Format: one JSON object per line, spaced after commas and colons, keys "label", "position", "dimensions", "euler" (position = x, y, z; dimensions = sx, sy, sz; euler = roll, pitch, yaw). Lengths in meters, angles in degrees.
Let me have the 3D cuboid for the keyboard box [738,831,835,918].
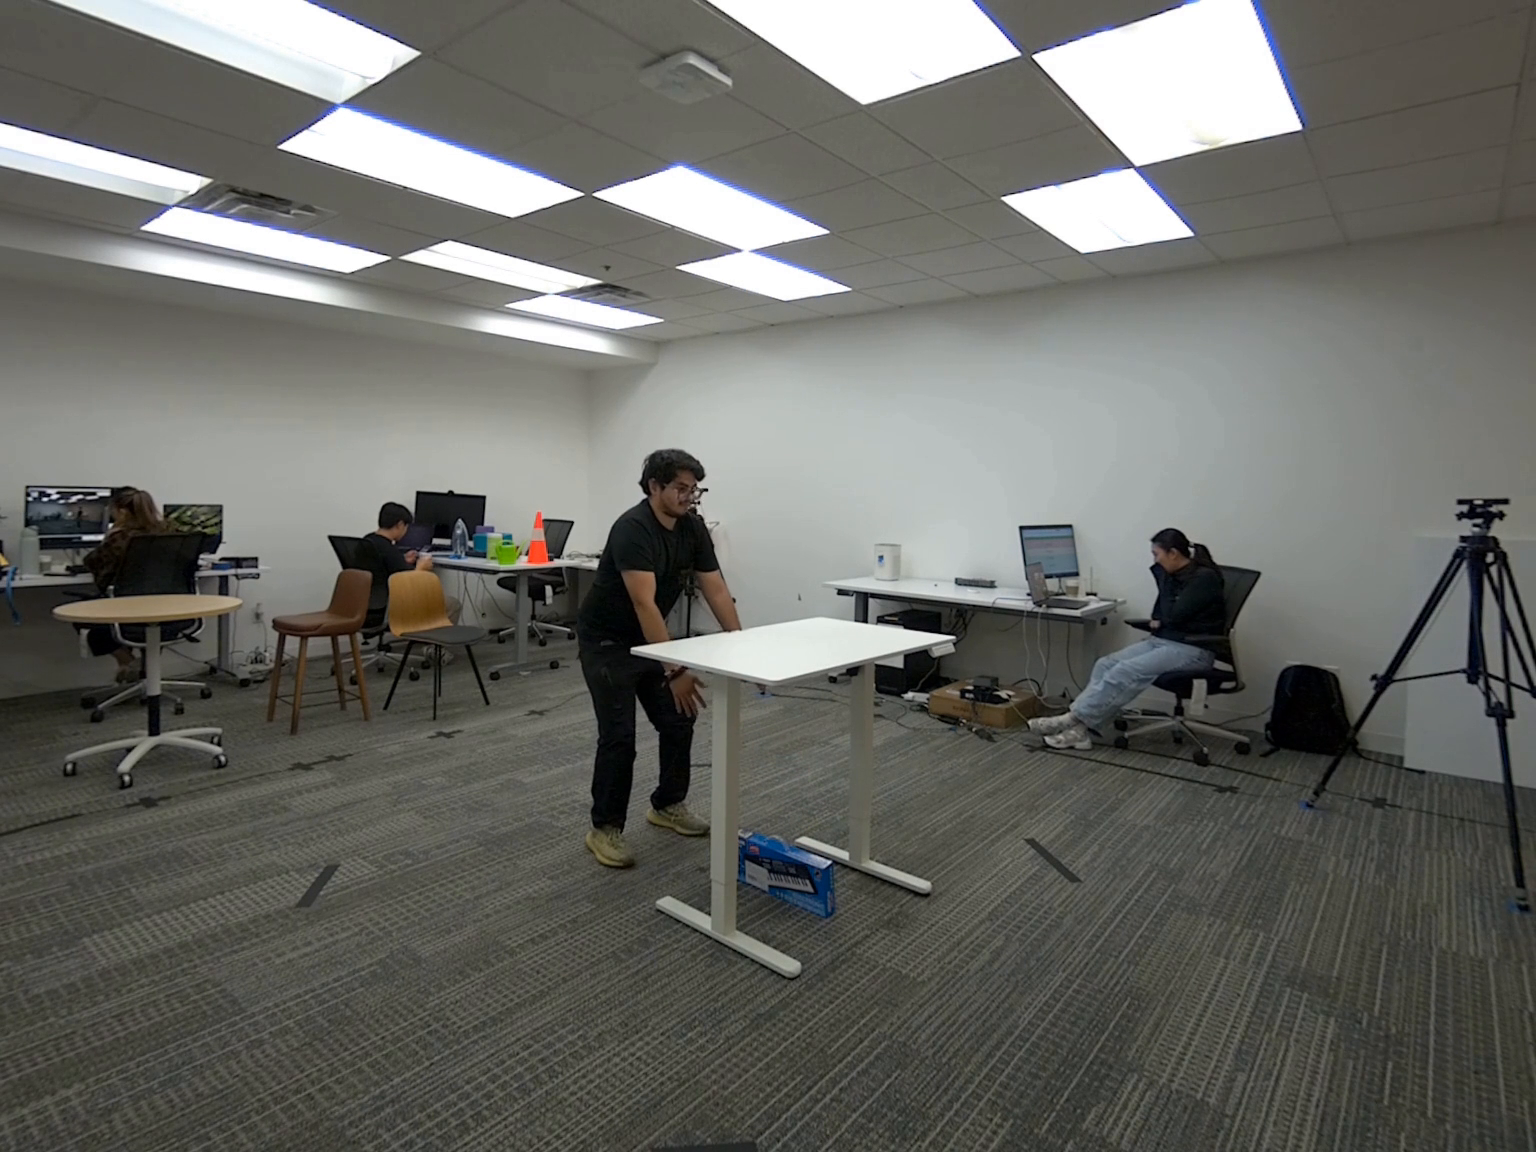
{"label": "keyboard box", "position": [0.025, 1.006, 2.921], "dimensions": [0.452, 0.175, 0.057], "euler": [5, 10, 41]}
